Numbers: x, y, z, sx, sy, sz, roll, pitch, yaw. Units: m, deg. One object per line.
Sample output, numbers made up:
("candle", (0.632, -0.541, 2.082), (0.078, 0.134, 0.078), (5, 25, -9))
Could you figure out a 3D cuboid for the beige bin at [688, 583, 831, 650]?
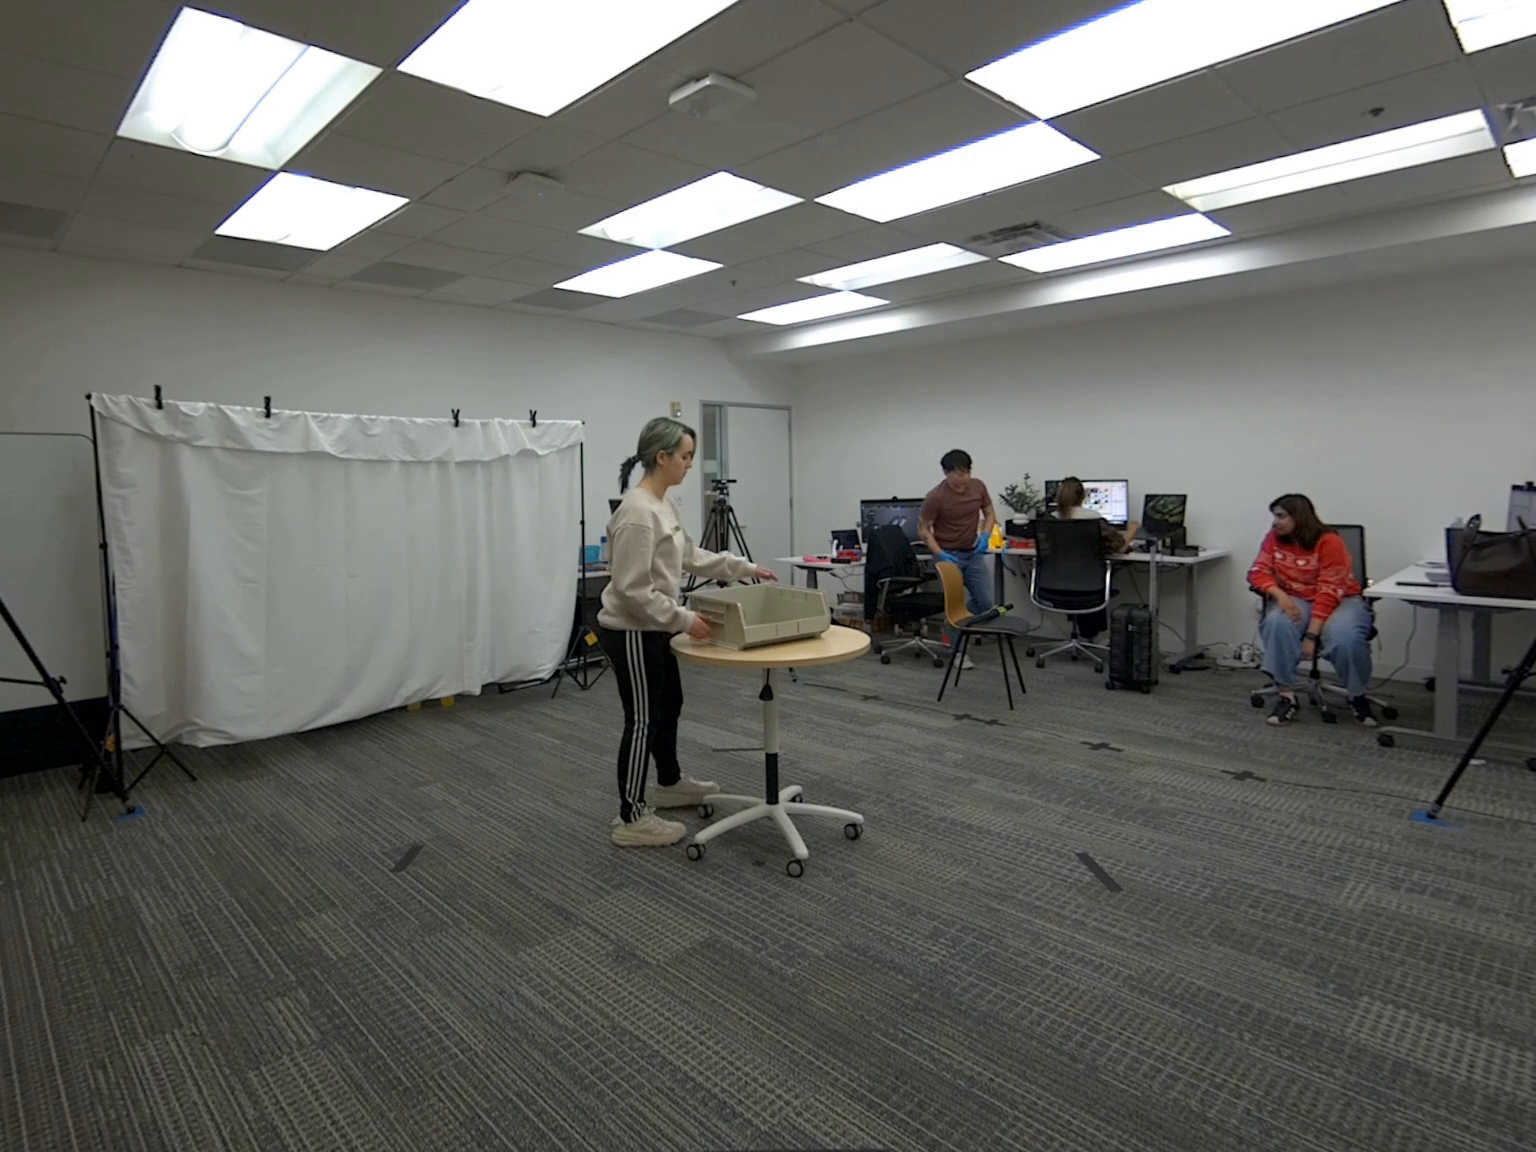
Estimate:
("beige bin", (-0.041, 0.150, 3.287), (0.412, 0.188, 0.388), (-6, 6, -36))
